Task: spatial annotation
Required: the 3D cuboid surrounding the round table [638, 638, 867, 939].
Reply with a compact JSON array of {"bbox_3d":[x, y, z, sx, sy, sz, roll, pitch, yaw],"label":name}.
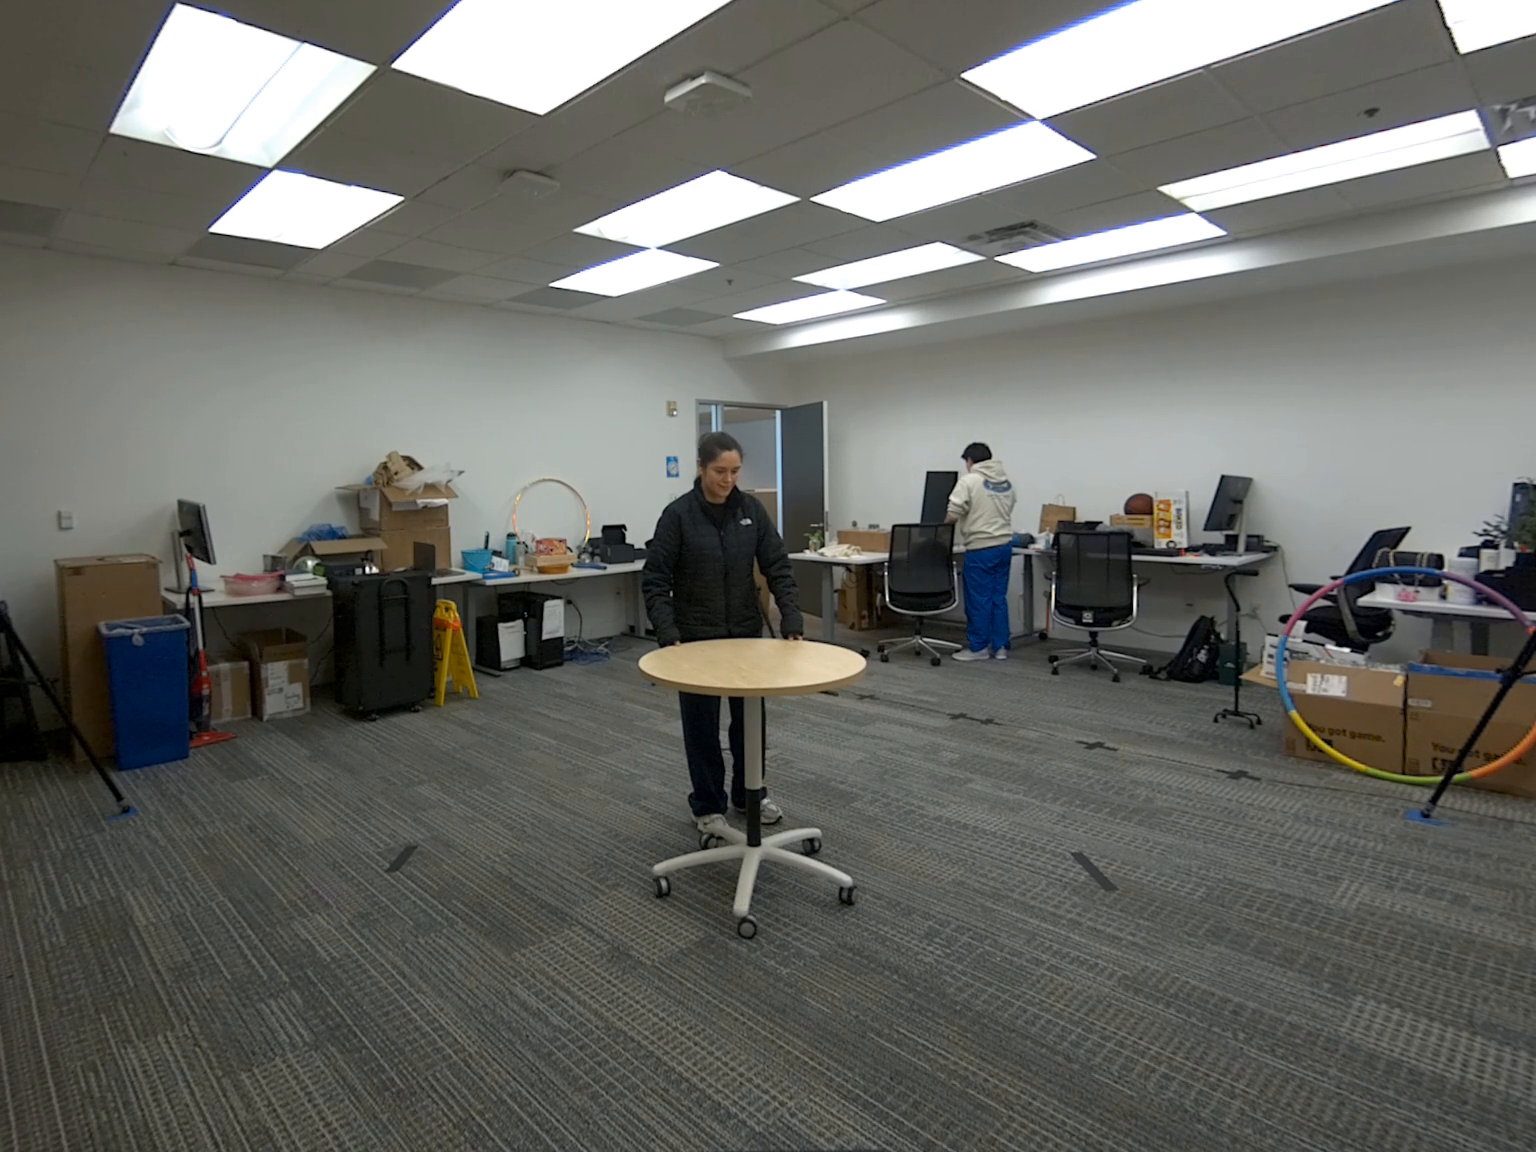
[{"bbox_3d":[-0.040,0.675,2.923,0.784,0.783,0.789,-1,5,-2],"label":"round table"}]
